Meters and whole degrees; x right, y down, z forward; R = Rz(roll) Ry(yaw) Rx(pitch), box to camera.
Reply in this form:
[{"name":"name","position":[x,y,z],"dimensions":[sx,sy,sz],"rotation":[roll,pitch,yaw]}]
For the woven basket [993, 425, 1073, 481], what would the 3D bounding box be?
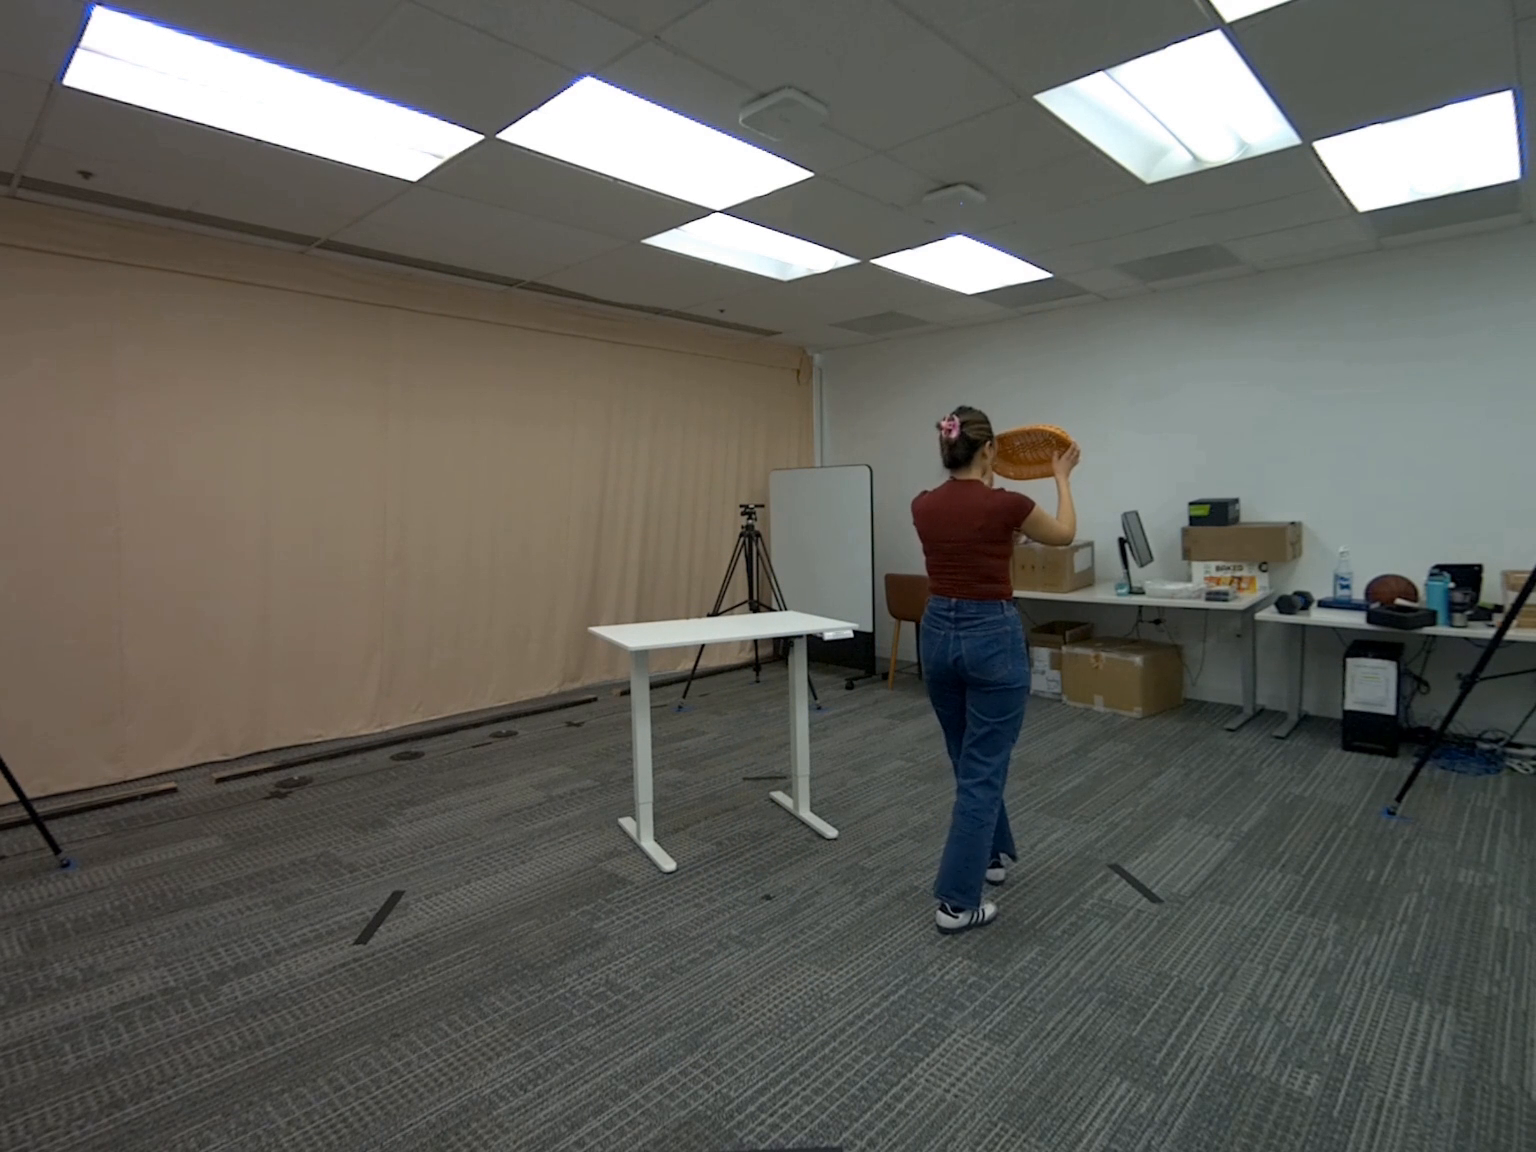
[{"name":"woven basket","position":[0.984,-0.478,3.187],"dimensions":[0.361,0.245,0.073],"rotation":[-1,46,40]}]
